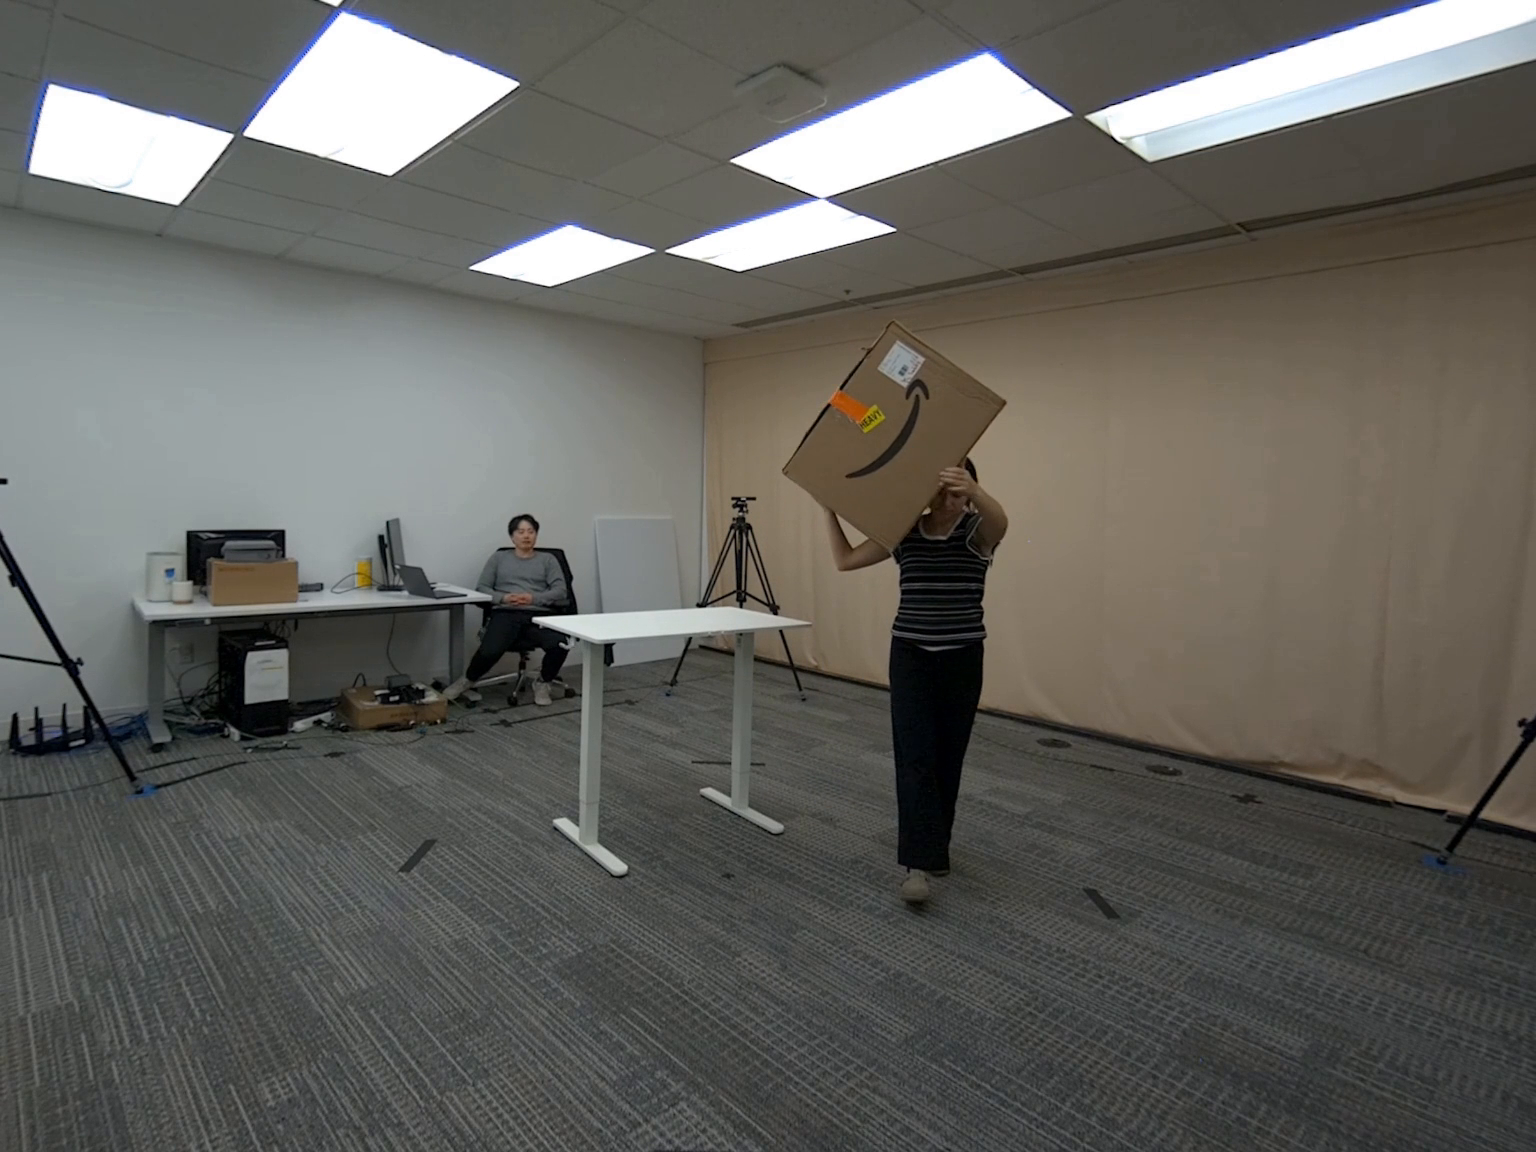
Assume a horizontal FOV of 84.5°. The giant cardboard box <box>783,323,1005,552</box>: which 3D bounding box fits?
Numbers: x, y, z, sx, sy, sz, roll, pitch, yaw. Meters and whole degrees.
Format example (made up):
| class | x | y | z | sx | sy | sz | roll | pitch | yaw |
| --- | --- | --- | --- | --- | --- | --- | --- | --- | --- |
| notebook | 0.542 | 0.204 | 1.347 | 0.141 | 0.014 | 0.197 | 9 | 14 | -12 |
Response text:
| class | x | y | z | sx | sy | sz | roll | pitch | yaw |
| --- | --- | --- | --- | --- | --- | --- | --- | --- | --- |
| giant cardboard box | 0.404 | -0.484 | 3.055 | 0.427 | 0.577 | 1.025 | 36 | 8 | 0 |
